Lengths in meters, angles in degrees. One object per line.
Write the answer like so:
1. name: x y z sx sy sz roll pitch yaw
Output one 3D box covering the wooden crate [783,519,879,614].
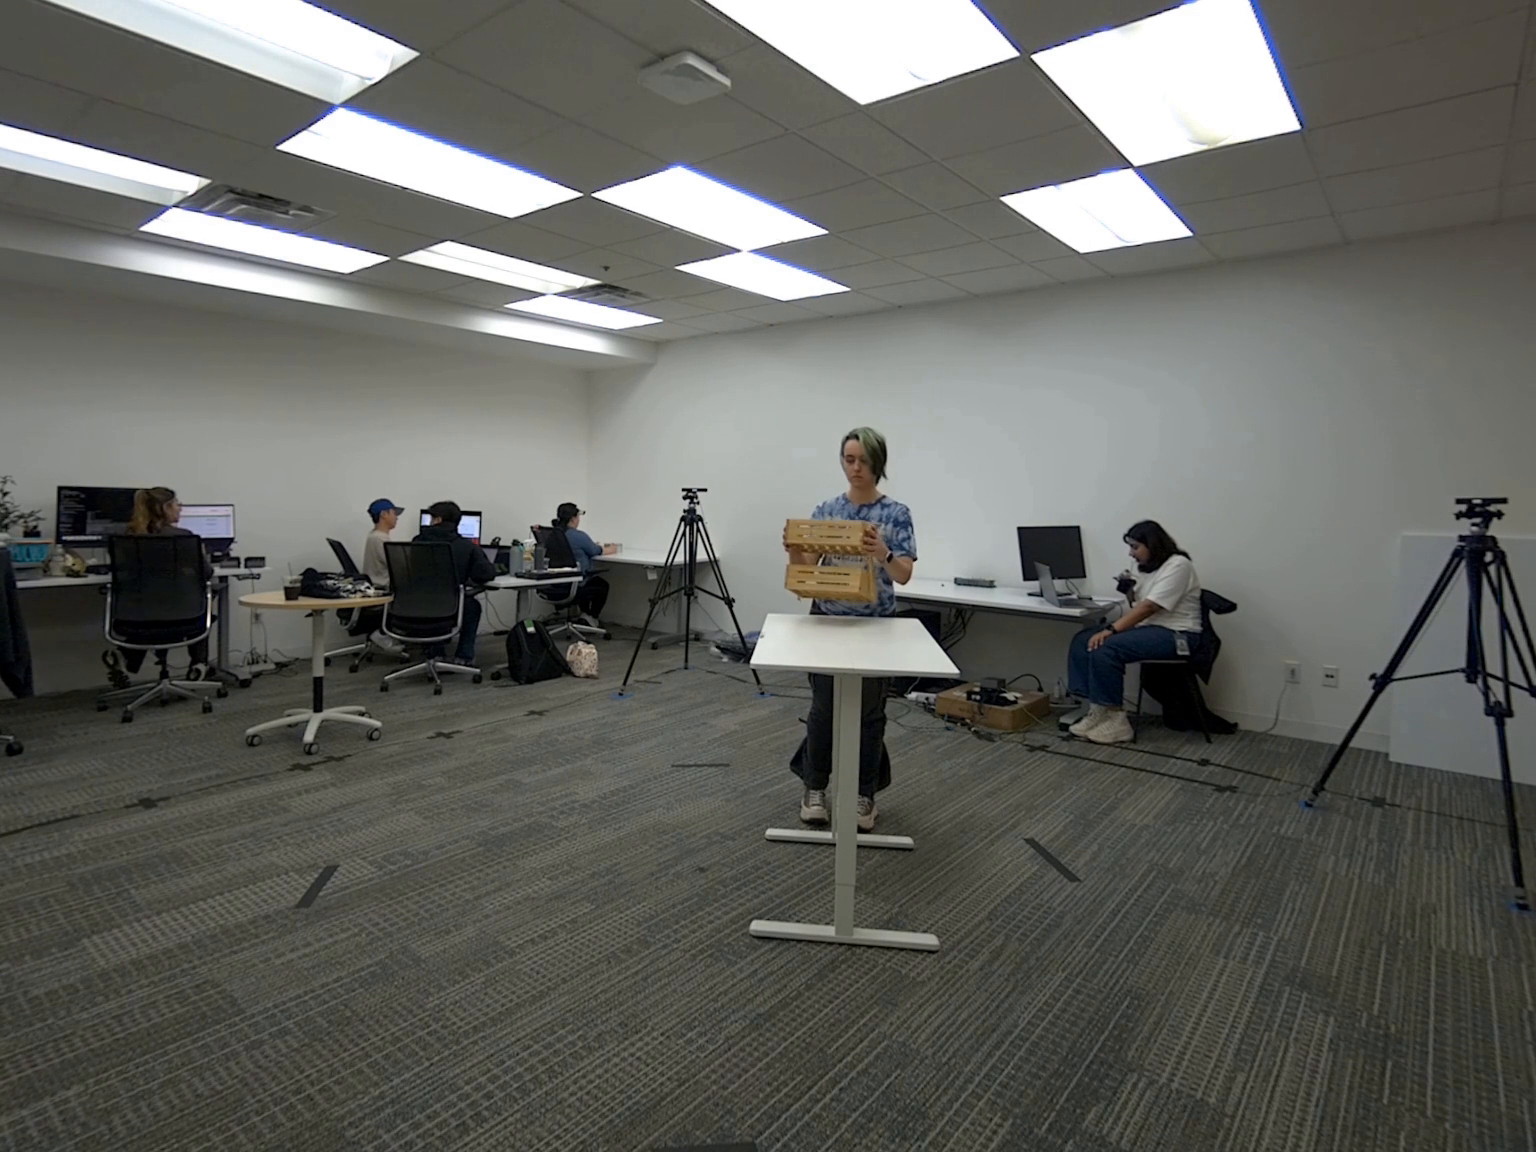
1. wooden crate: 0.237 -0.057 3.301 0.332 0.276 0.292 3 -11 21
